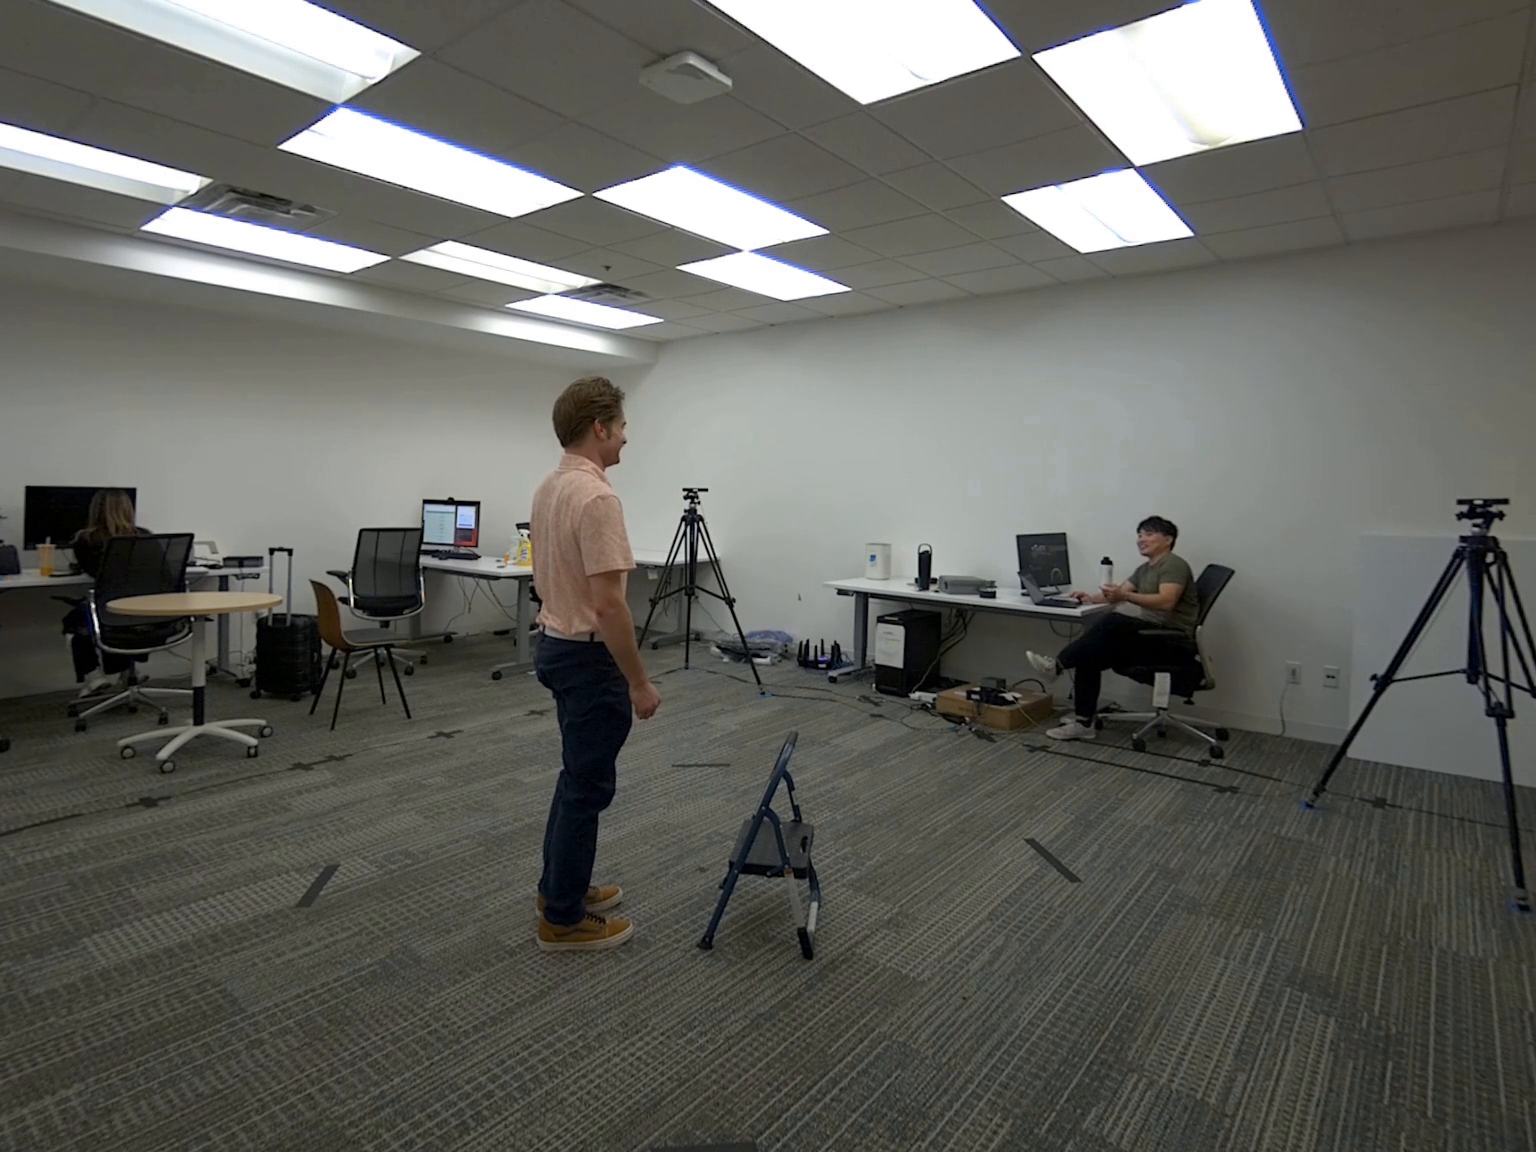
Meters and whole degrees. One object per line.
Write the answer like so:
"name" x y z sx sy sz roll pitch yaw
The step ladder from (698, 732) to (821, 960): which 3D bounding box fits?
"step ladder" -0.016 0.810 2.732 0.353 0.604 0.428 2 4 8
